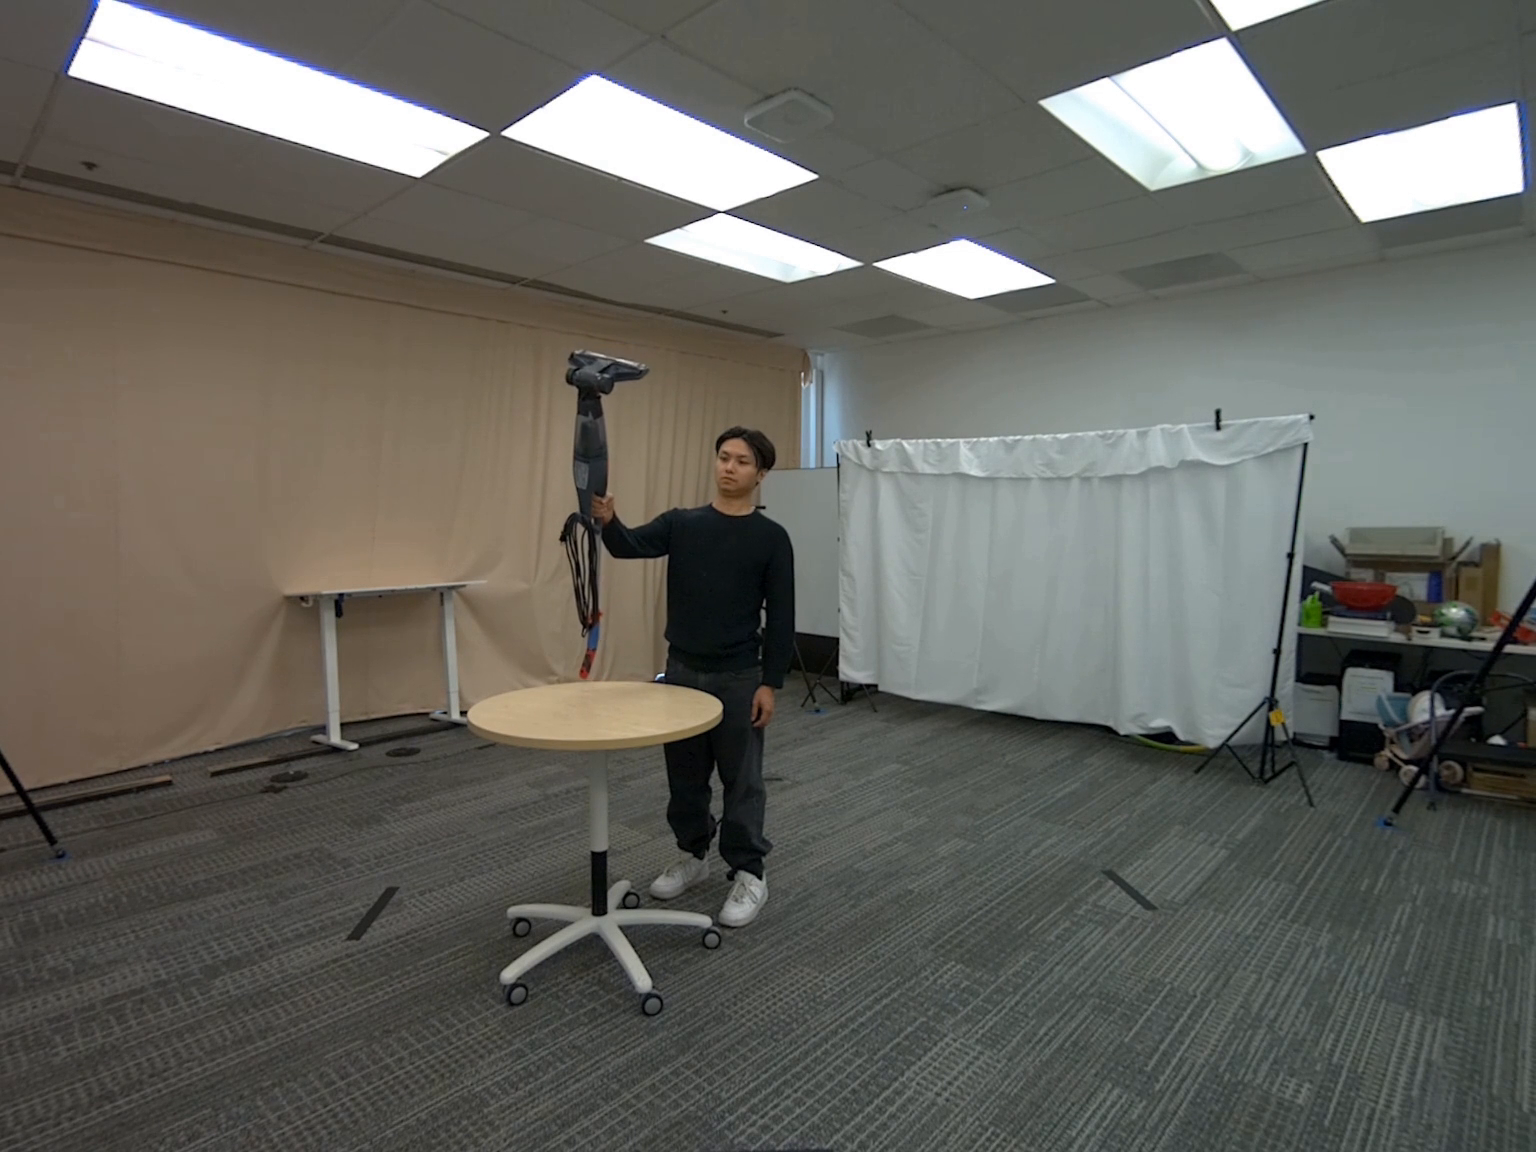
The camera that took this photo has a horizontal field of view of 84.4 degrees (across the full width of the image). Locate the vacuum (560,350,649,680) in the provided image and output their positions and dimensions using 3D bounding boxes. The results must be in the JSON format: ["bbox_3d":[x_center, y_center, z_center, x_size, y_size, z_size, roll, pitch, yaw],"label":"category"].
[{"bbox_3d":[-0.558,-0.125,2.581,0.259,1.039,0.142,19,25,21],"label":"vacuum"}]
